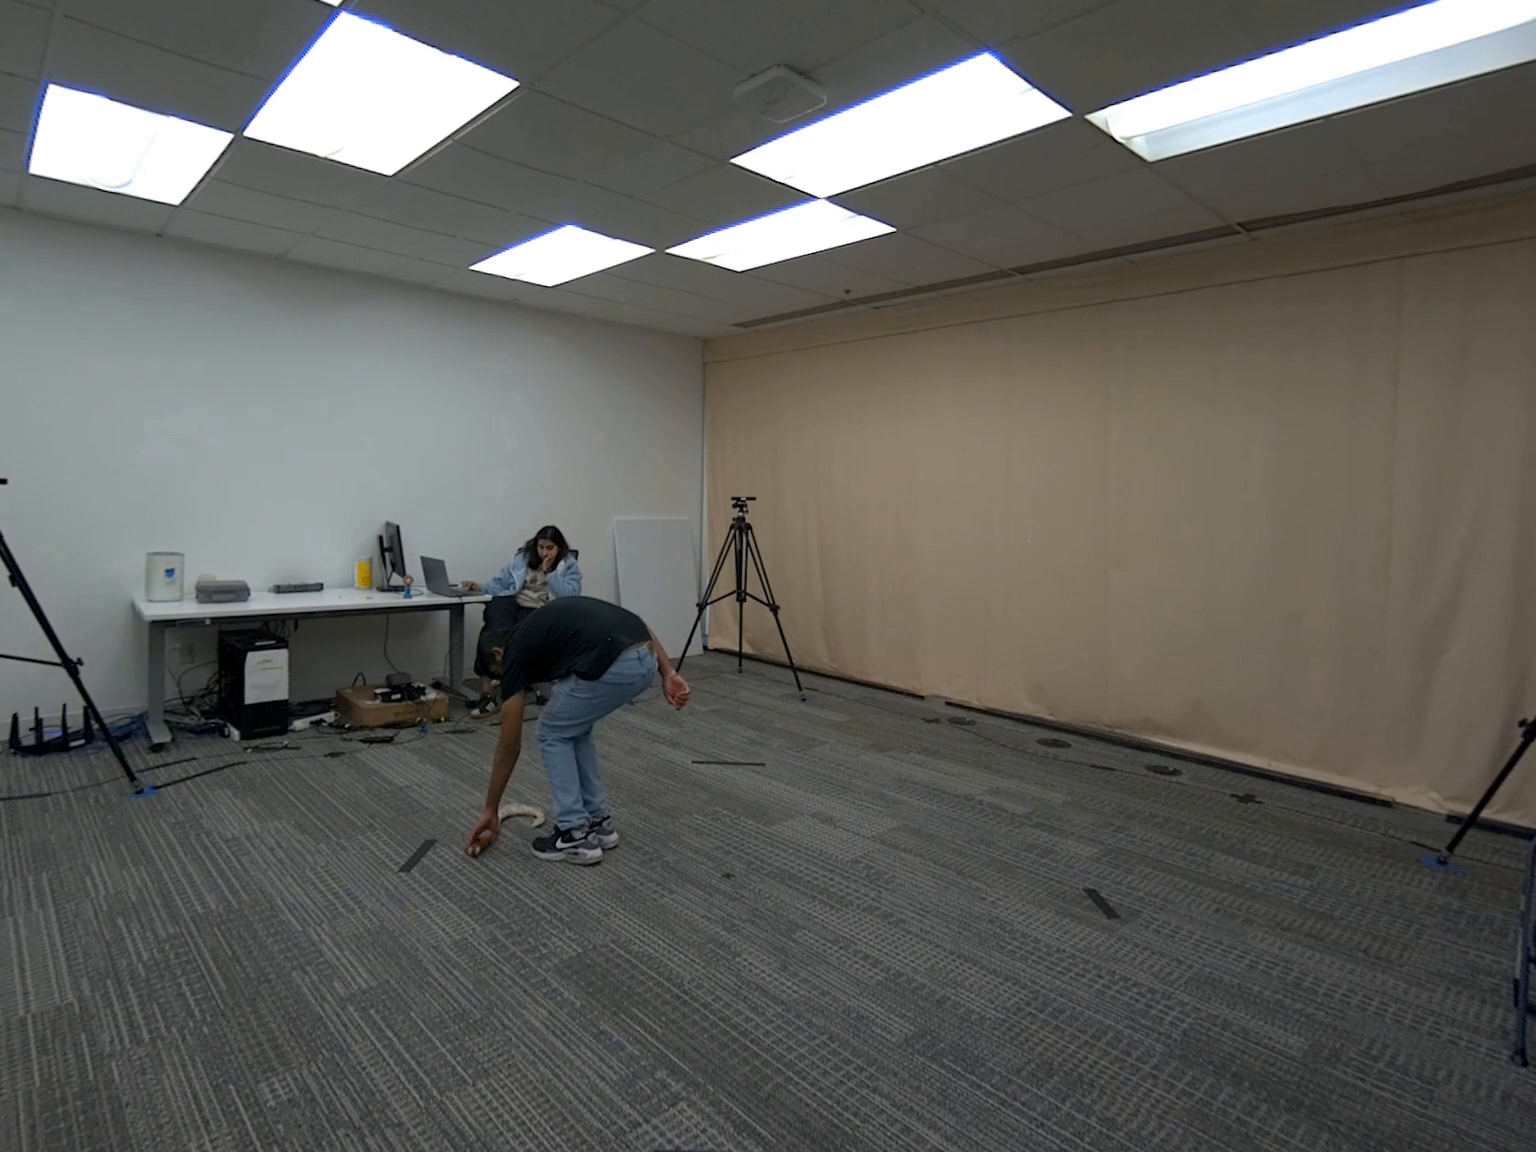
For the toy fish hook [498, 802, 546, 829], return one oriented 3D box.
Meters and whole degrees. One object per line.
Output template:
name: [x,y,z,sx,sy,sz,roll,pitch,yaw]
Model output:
toy fish hook: [-1.062,1.029,3.439,0.225,0.048,0.507,0,5,1]
